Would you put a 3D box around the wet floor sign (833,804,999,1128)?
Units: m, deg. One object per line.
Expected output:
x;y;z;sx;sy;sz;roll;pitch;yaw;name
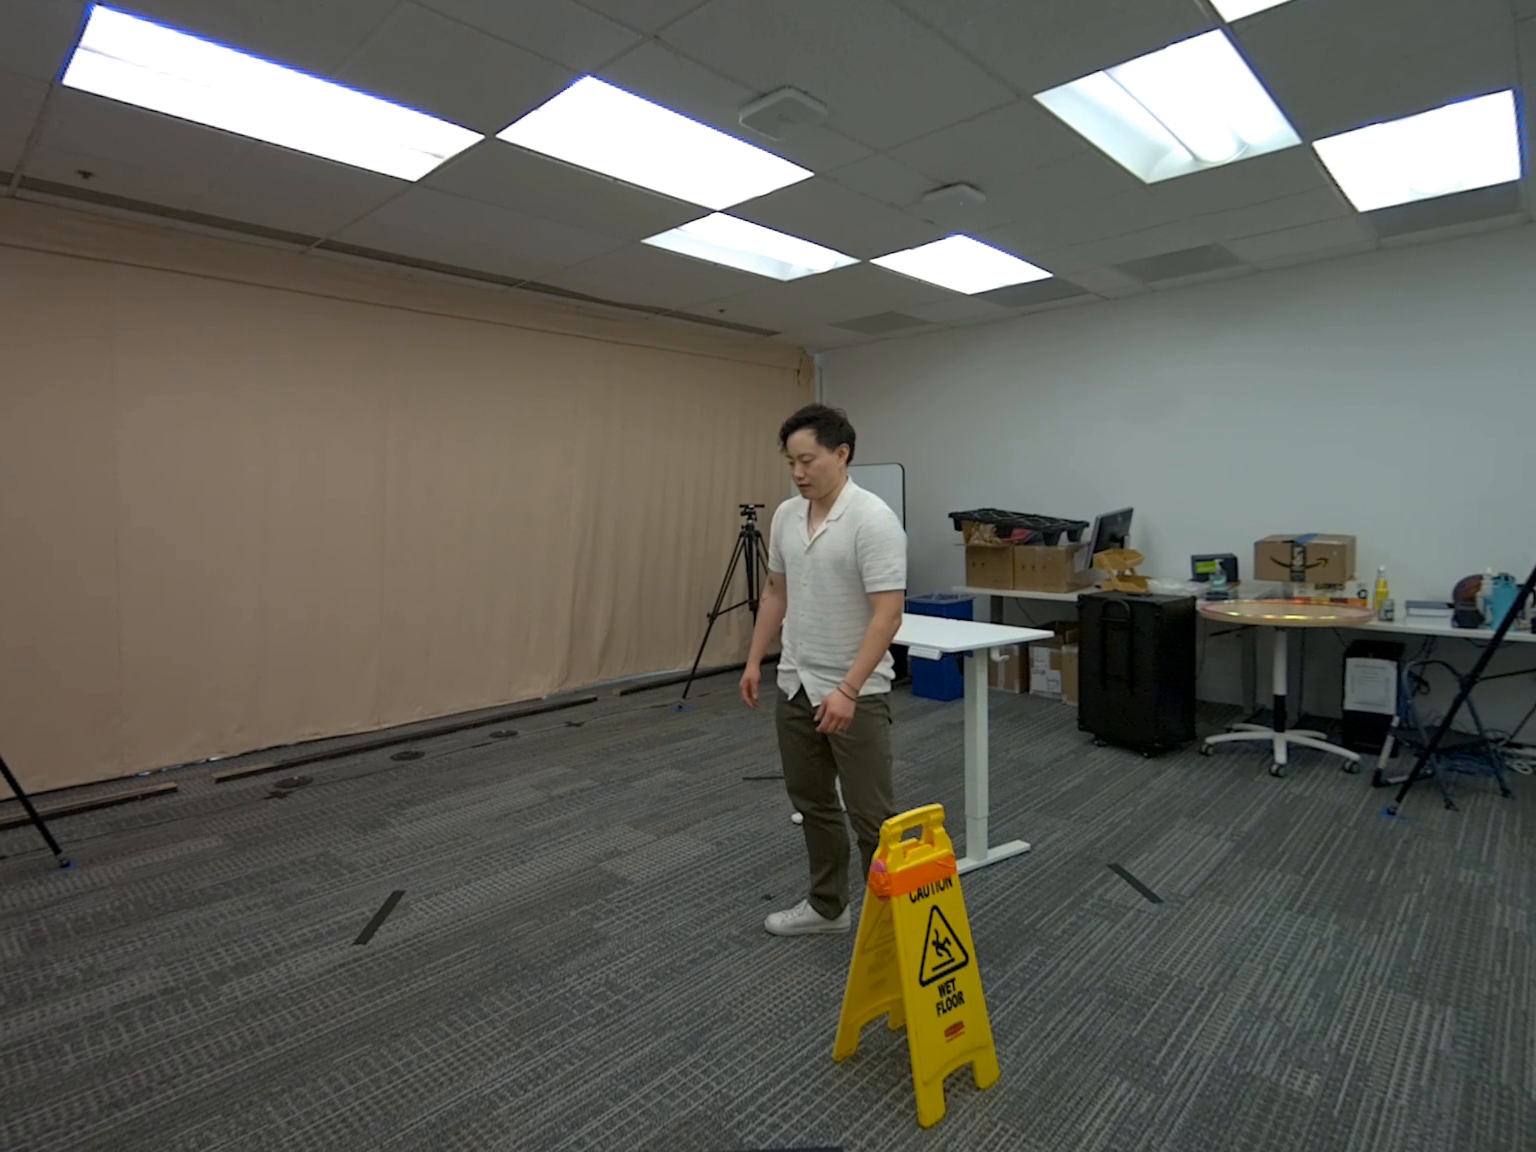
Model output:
0.360;0.890;2.051;0.274;0.644;0.299;-4;5;-38;wet floor sign
